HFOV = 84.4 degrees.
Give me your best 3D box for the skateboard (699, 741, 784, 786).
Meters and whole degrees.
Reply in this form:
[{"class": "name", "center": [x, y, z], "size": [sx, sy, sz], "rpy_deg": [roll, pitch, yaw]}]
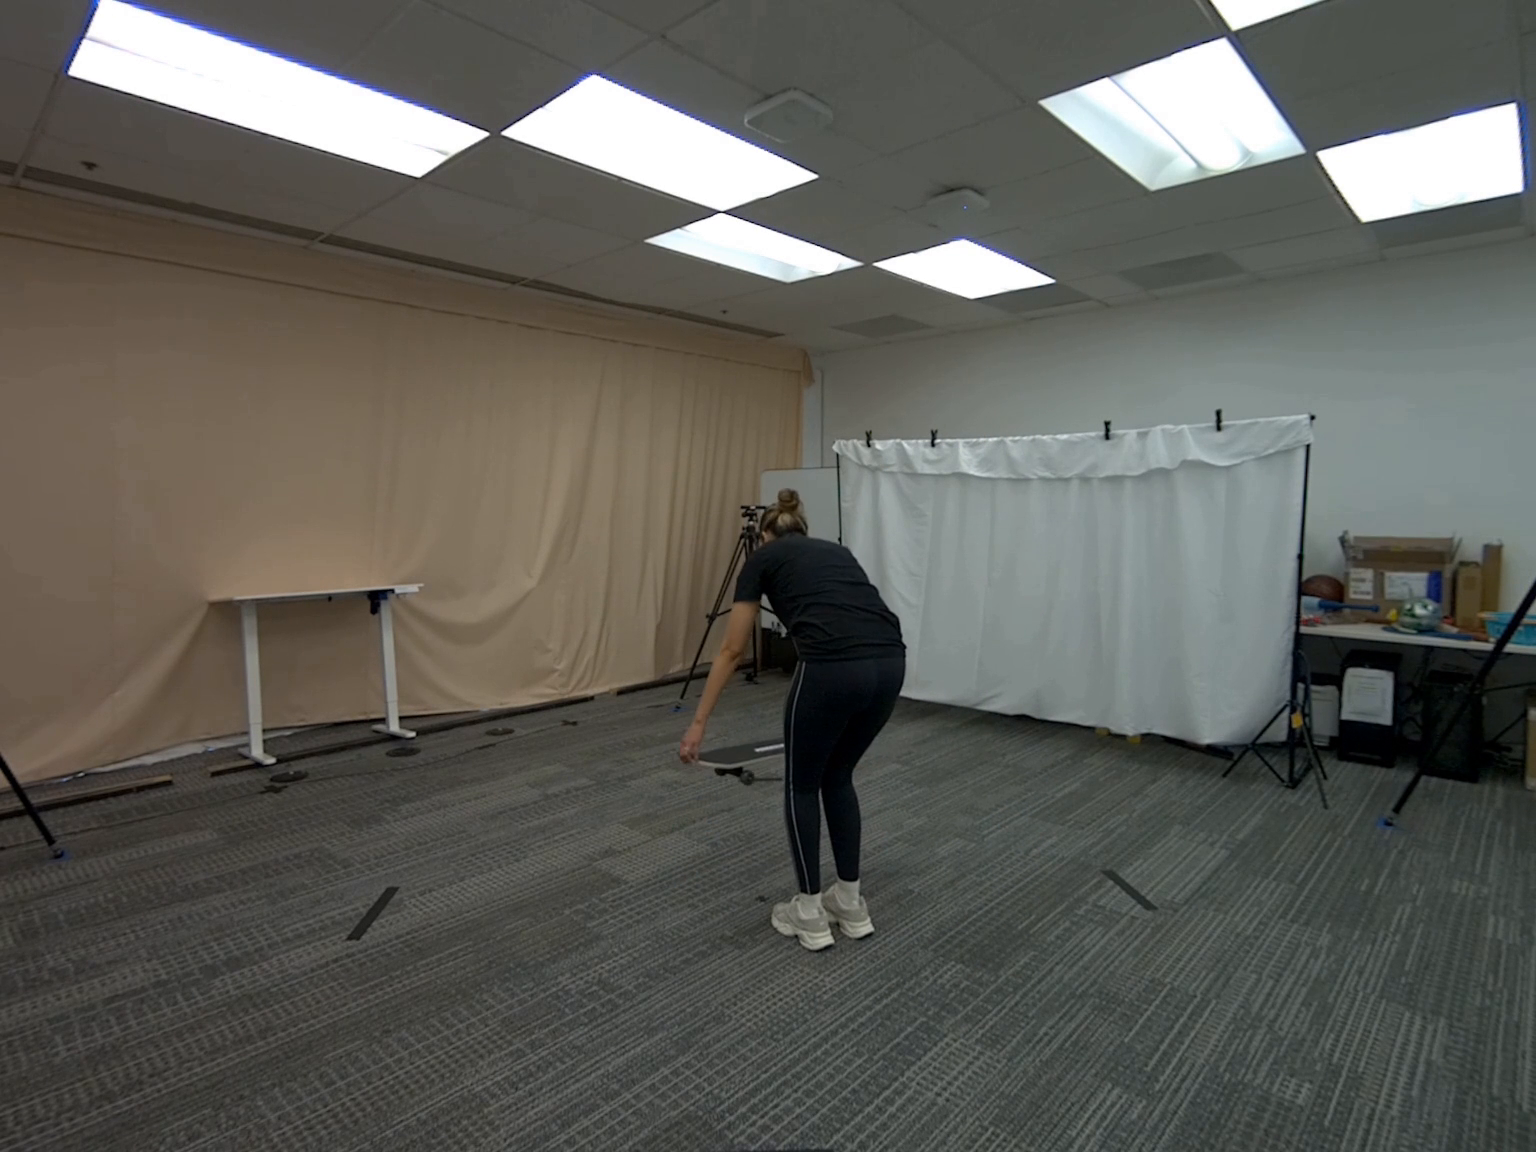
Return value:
[{"class": "skateboard", "center": [0.046, 0.655, 3.050], "size": [0.762, 0.110, 0.199], "rpy_deg": [-2, 2, -35]}]
